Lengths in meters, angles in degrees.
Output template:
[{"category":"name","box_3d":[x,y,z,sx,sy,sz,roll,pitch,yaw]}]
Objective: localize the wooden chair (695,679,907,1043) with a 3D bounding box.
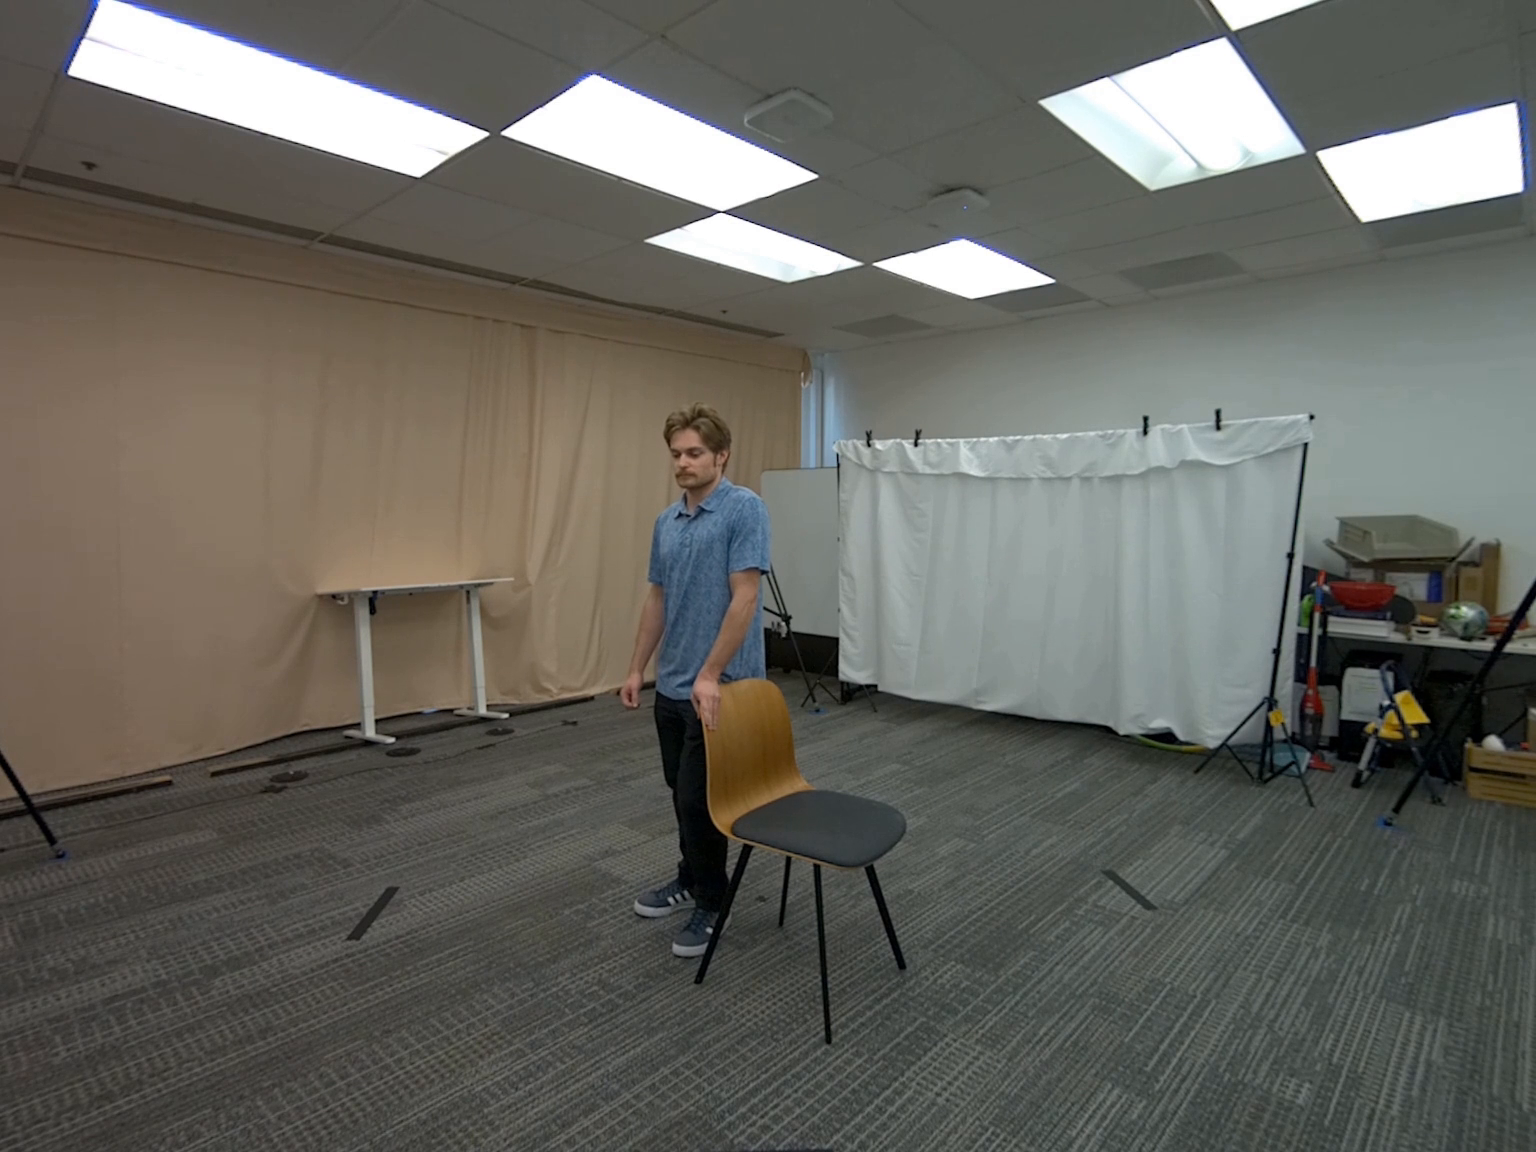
[{"category":"wooden chair","box_3d":[0.113,0.758,2.458,0.539,0.877,0.464,-3,1,36]}]
